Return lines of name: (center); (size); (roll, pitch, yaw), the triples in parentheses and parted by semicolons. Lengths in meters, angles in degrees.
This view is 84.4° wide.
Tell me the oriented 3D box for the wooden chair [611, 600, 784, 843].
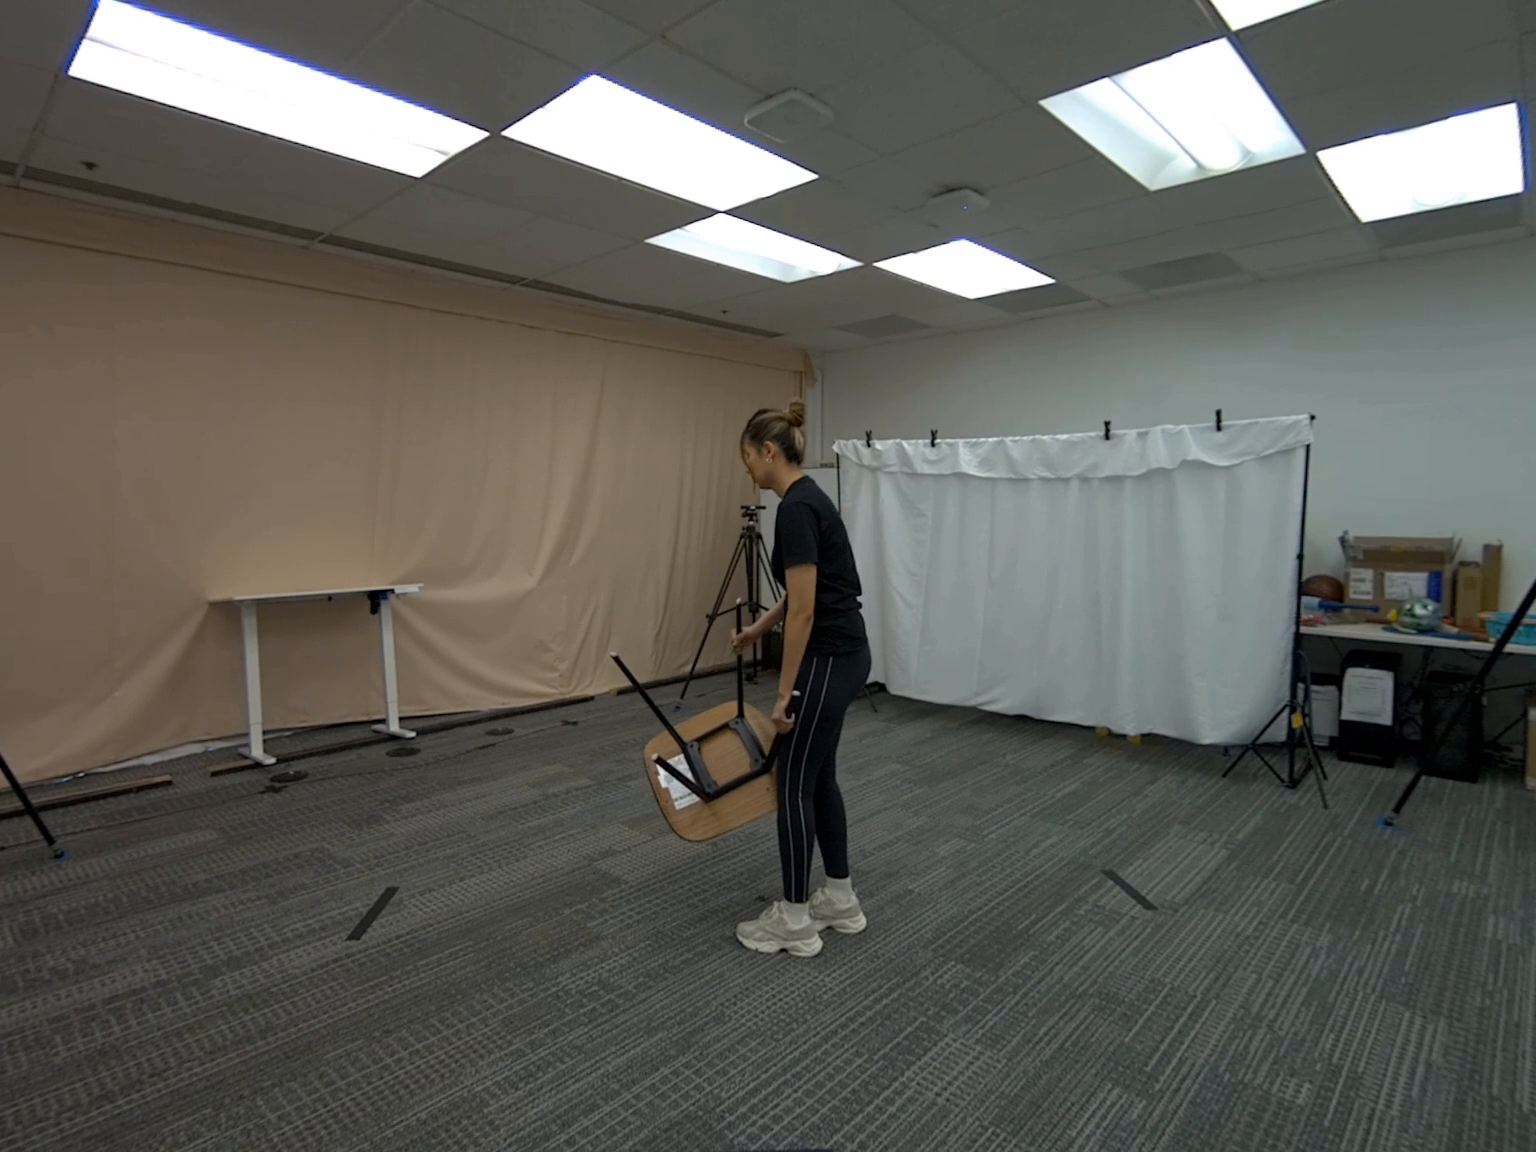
wooden chair: (-0.150, 0.601, 2.810); (0.520, 0.853, 0.494); (-26, 44, -7)
